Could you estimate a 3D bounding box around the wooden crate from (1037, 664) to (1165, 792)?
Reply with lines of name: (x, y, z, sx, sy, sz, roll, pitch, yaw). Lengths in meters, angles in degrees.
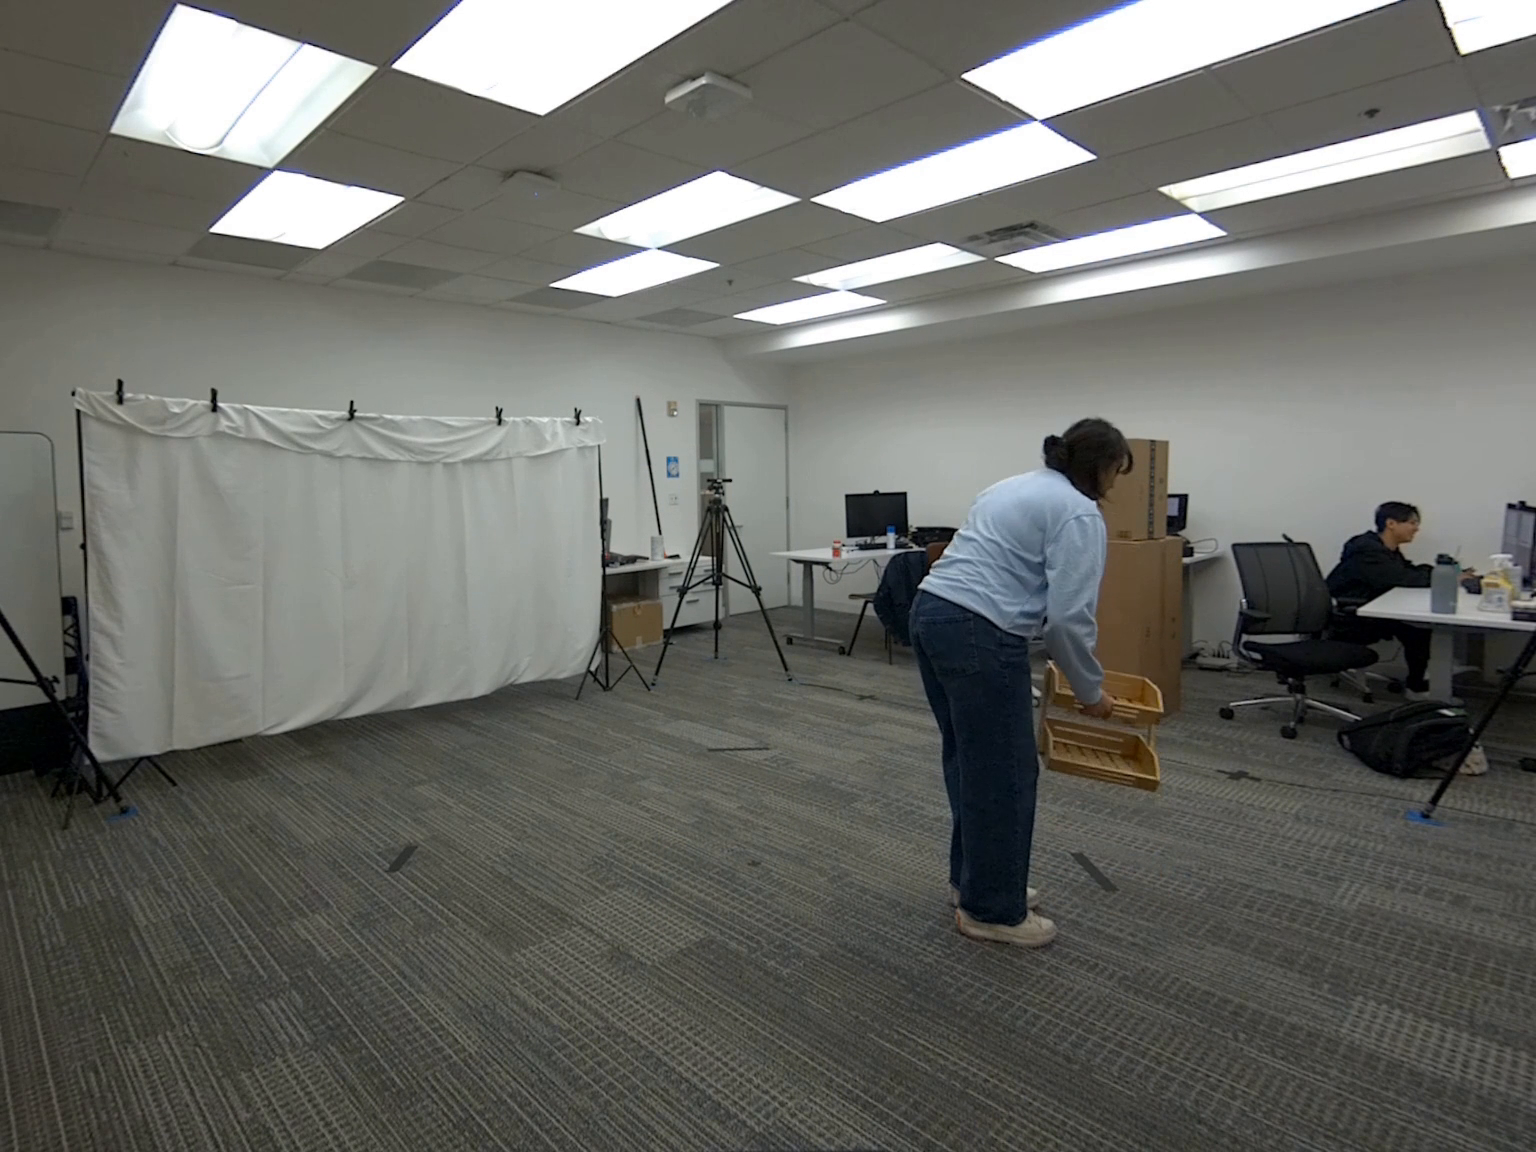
wooden crate: (1.006, 0.442, 2.575, 0.327, 0.271, 0.302, 10, 10, 6)
